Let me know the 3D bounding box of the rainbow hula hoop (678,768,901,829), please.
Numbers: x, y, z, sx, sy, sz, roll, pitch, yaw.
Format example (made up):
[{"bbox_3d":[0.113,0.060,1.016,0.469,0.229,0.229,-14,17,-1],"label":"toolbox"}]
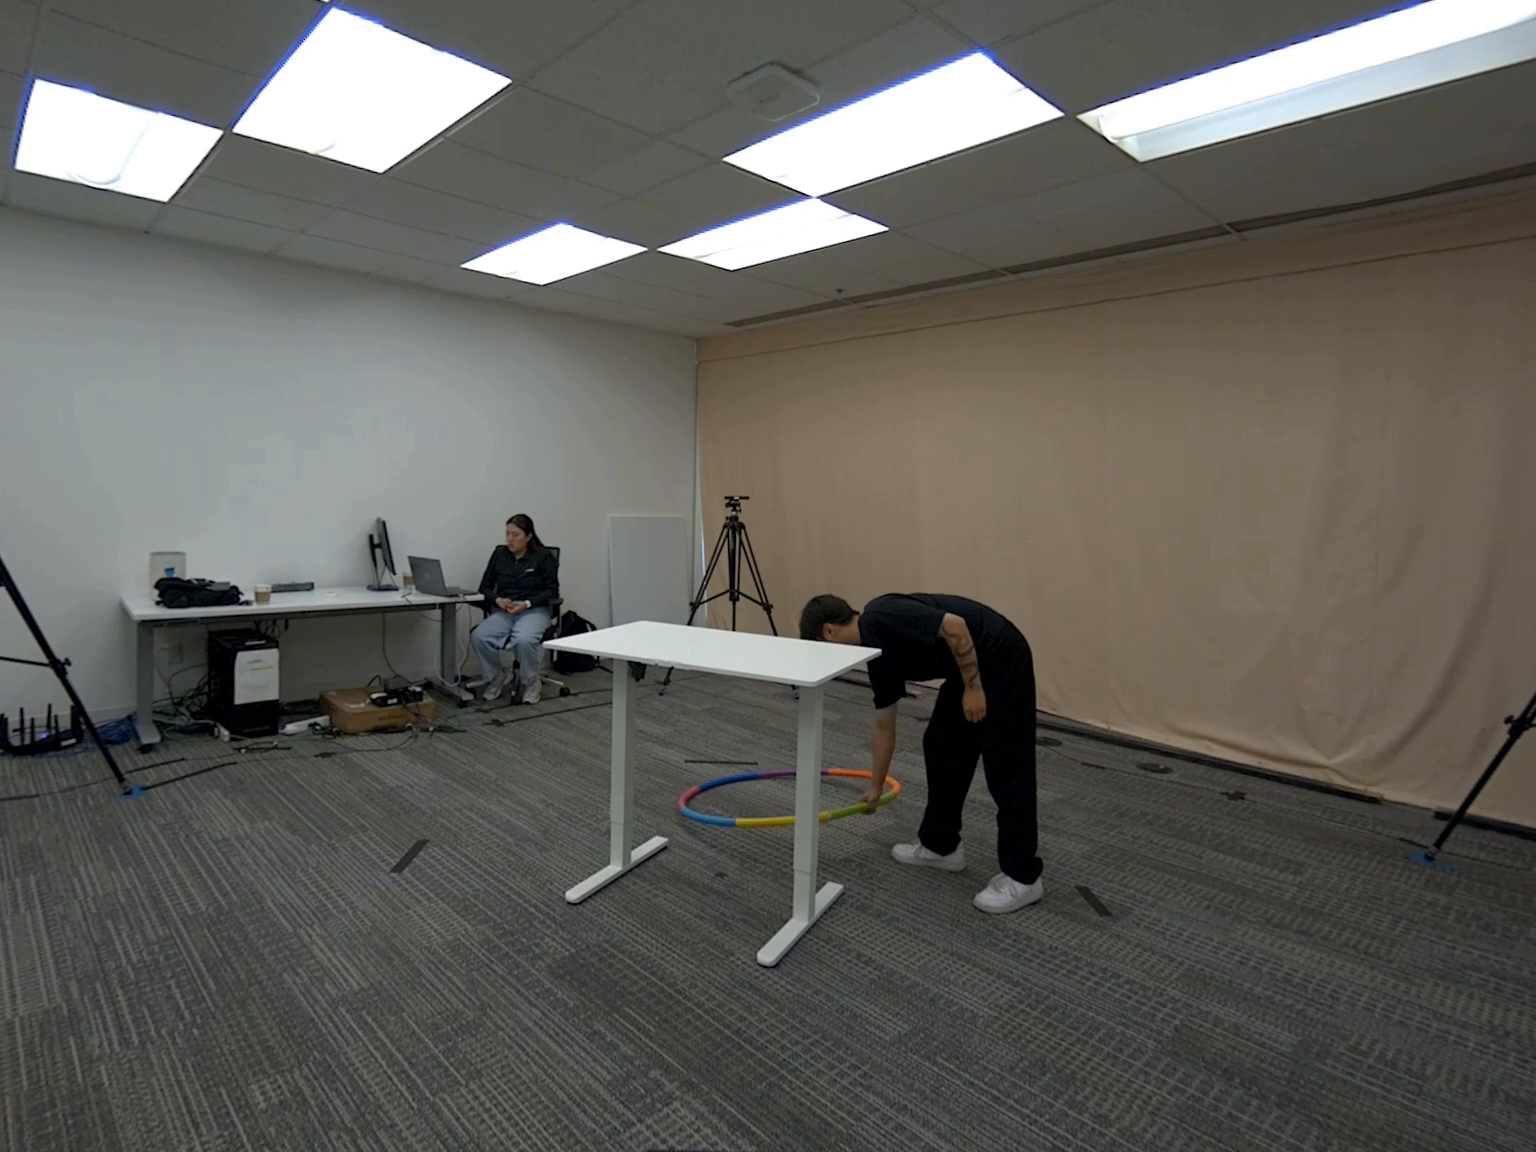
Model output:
[{"bbox_3d":[0.078,0.963,3.739,0.978,0.035,0.977,-4,-1,-2],"label":"rainbow hula hoop"}]
